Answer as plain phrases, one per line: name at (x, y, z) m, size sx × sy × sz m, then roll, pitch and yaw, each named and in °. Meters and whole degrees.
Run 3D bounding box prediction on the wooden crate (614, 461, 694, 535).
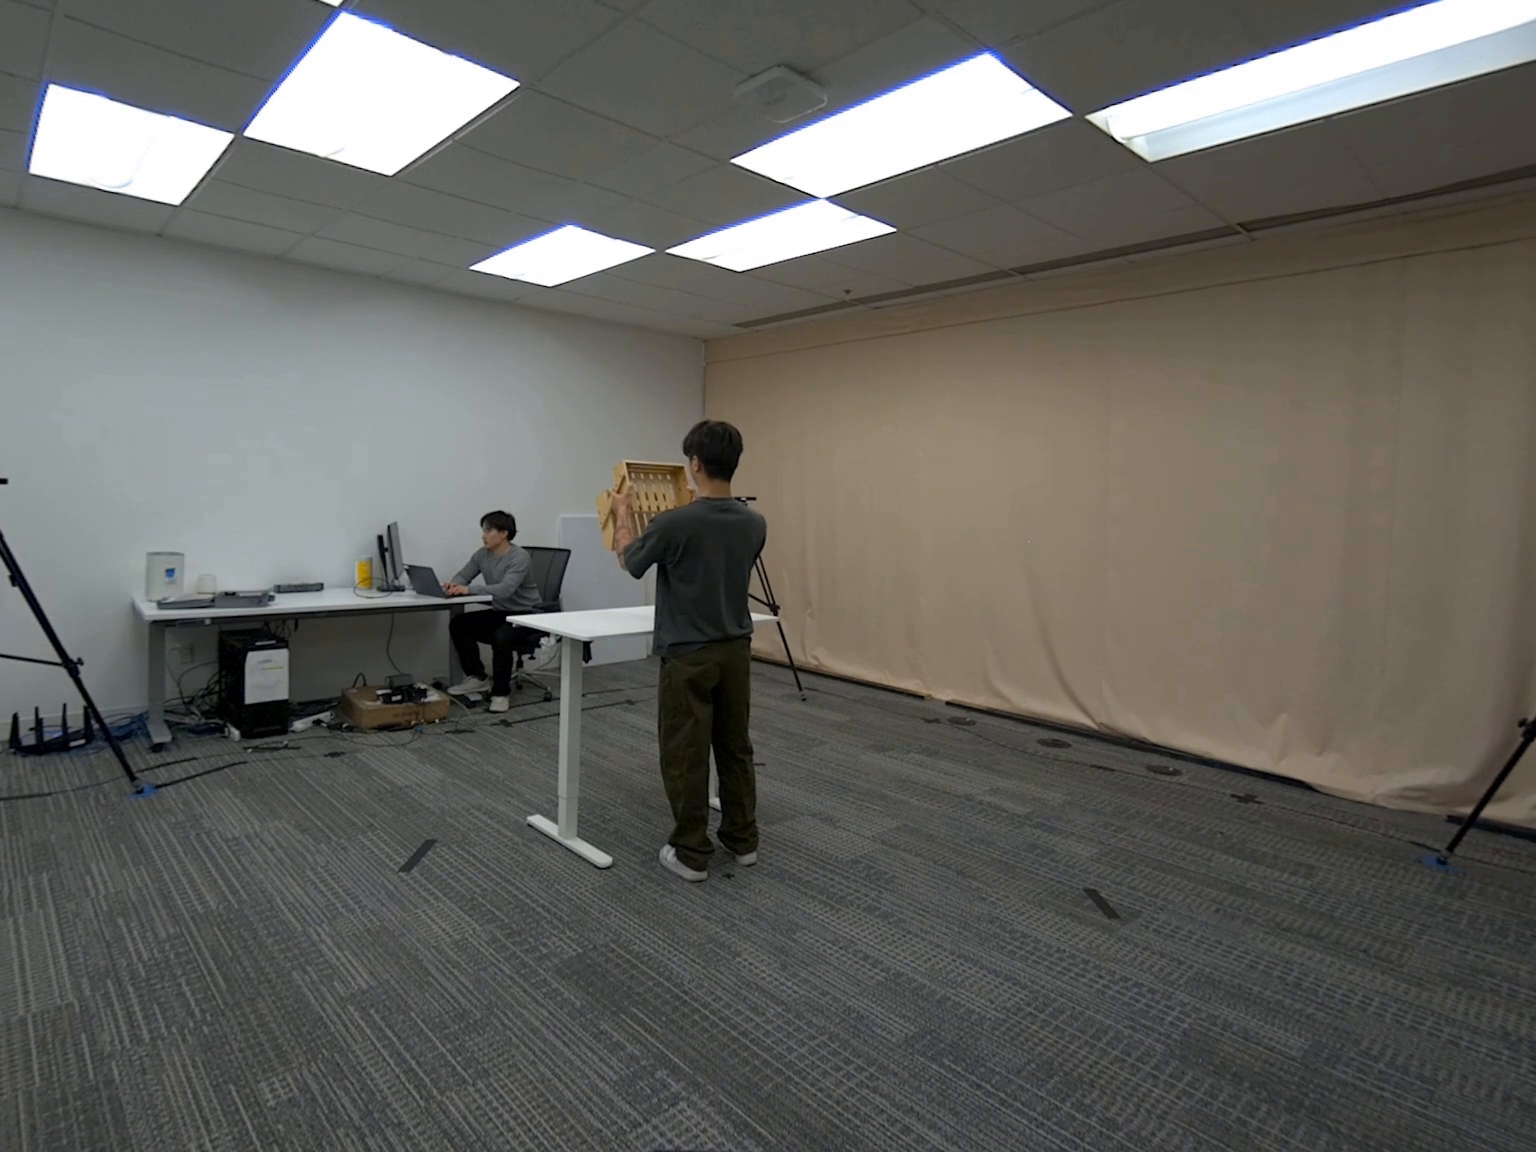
wooden crate at (-0.505, -0.276, 3.454) m, size 0.317 × 0.306 × 0.275 m, roll -1°, pitch -20°, yaw -39°
